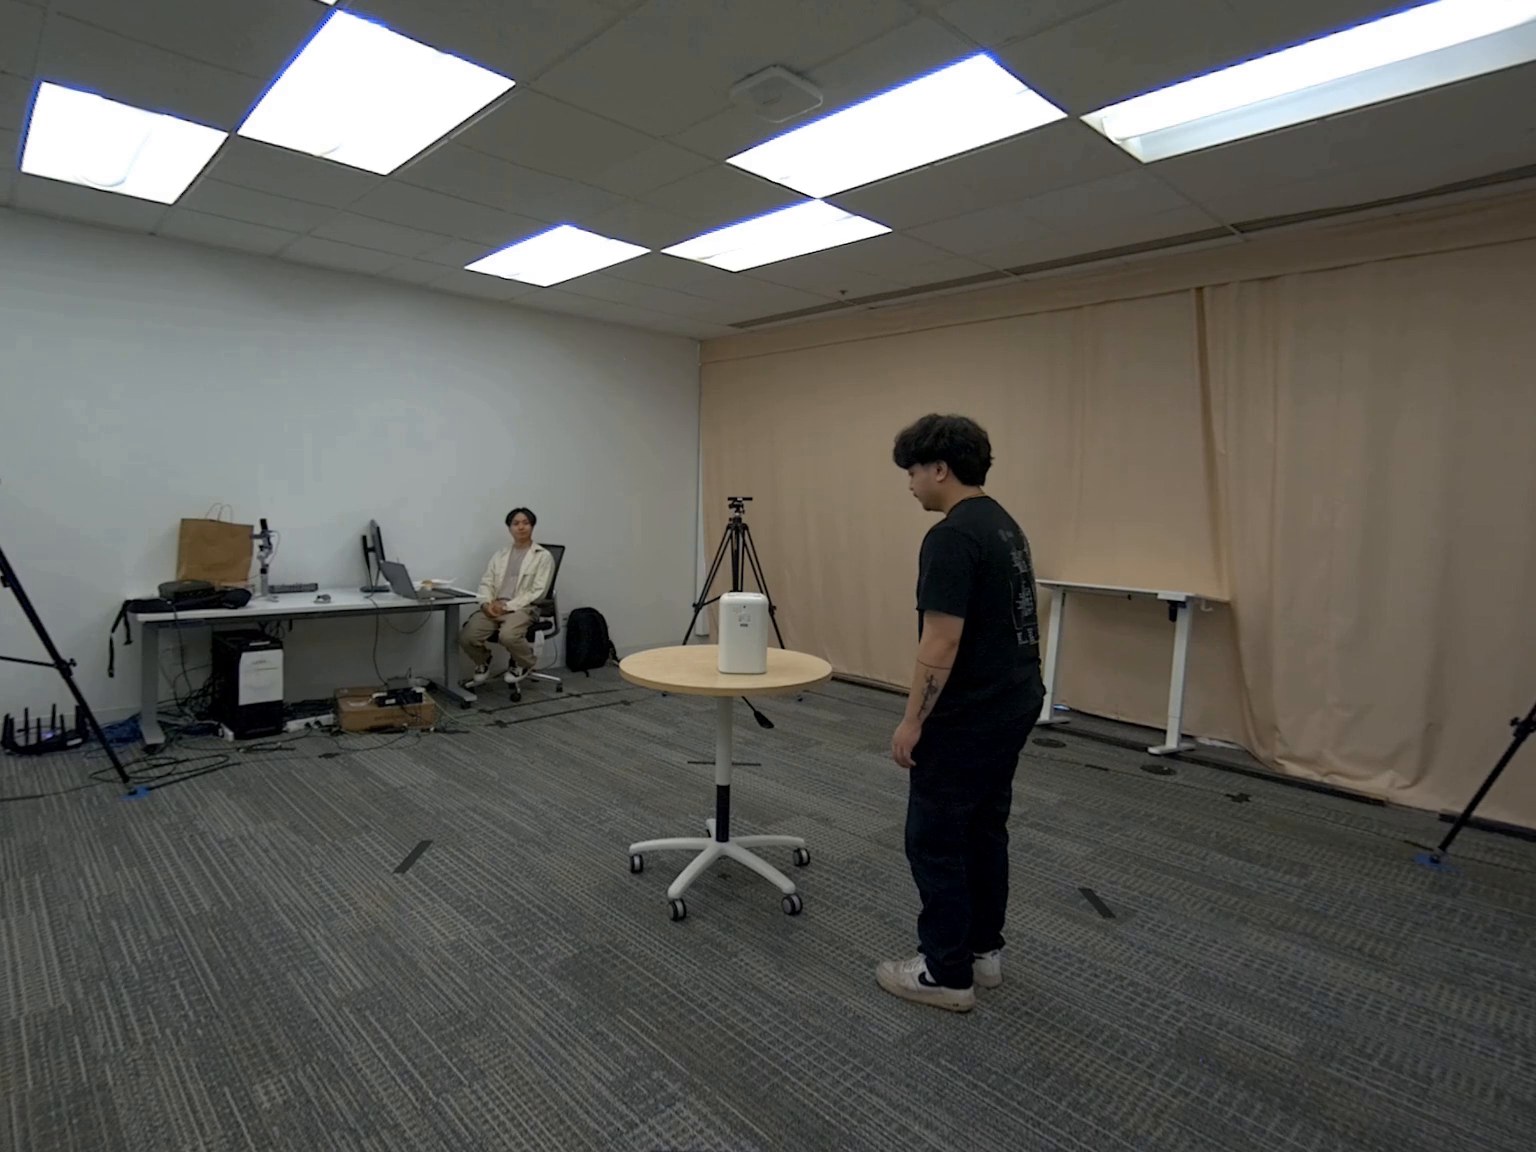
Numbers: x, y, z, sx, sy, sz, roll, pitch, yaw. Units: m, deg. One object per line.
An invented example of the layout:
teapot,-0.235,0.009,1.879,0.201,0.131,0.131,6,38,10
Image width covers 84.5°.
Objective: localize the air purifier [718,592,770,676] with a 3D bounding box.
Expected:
air purifier,-0.094,0.199,2.944,0.171,0.264,0.172,2,5,1
